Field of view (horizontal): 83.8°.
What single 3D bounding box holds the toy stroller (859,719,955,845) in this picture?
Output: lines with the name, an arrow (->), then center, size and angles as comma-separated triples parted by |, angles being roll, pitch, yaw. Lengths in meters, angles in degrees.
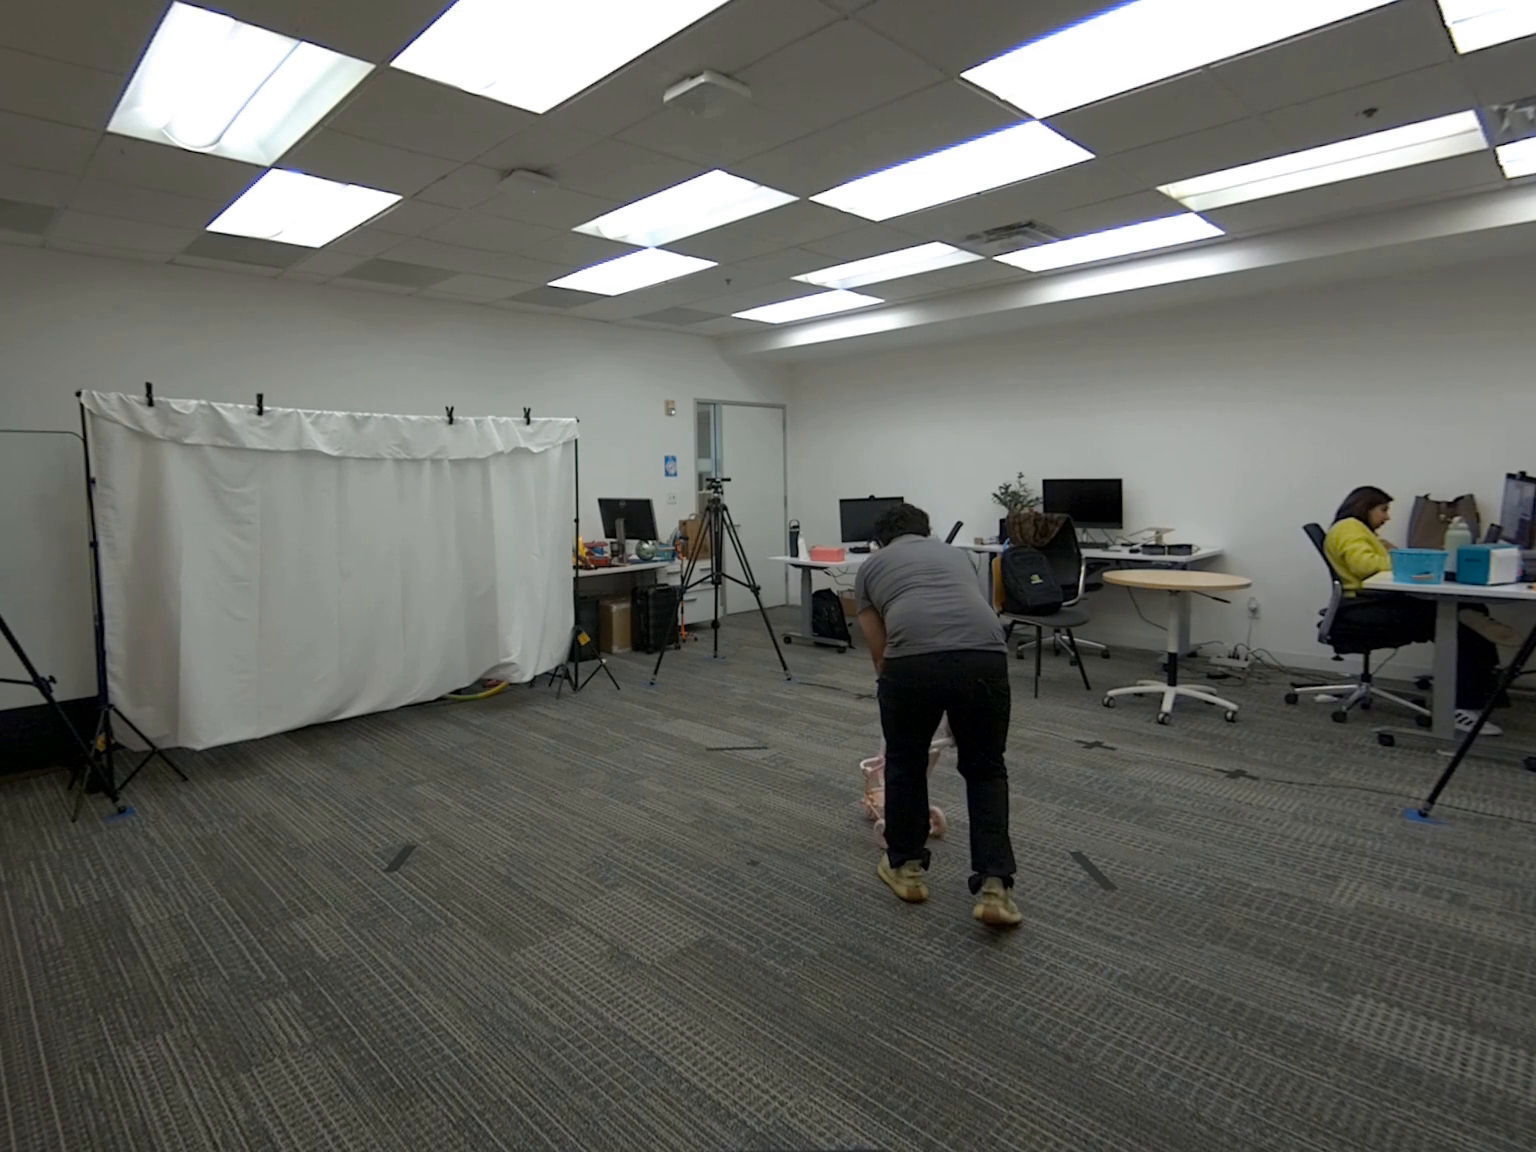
toy stroller -> 0.515, 0.785, 3.309 | 0.275, 0.527, 0.353 | -3, 20, -26
